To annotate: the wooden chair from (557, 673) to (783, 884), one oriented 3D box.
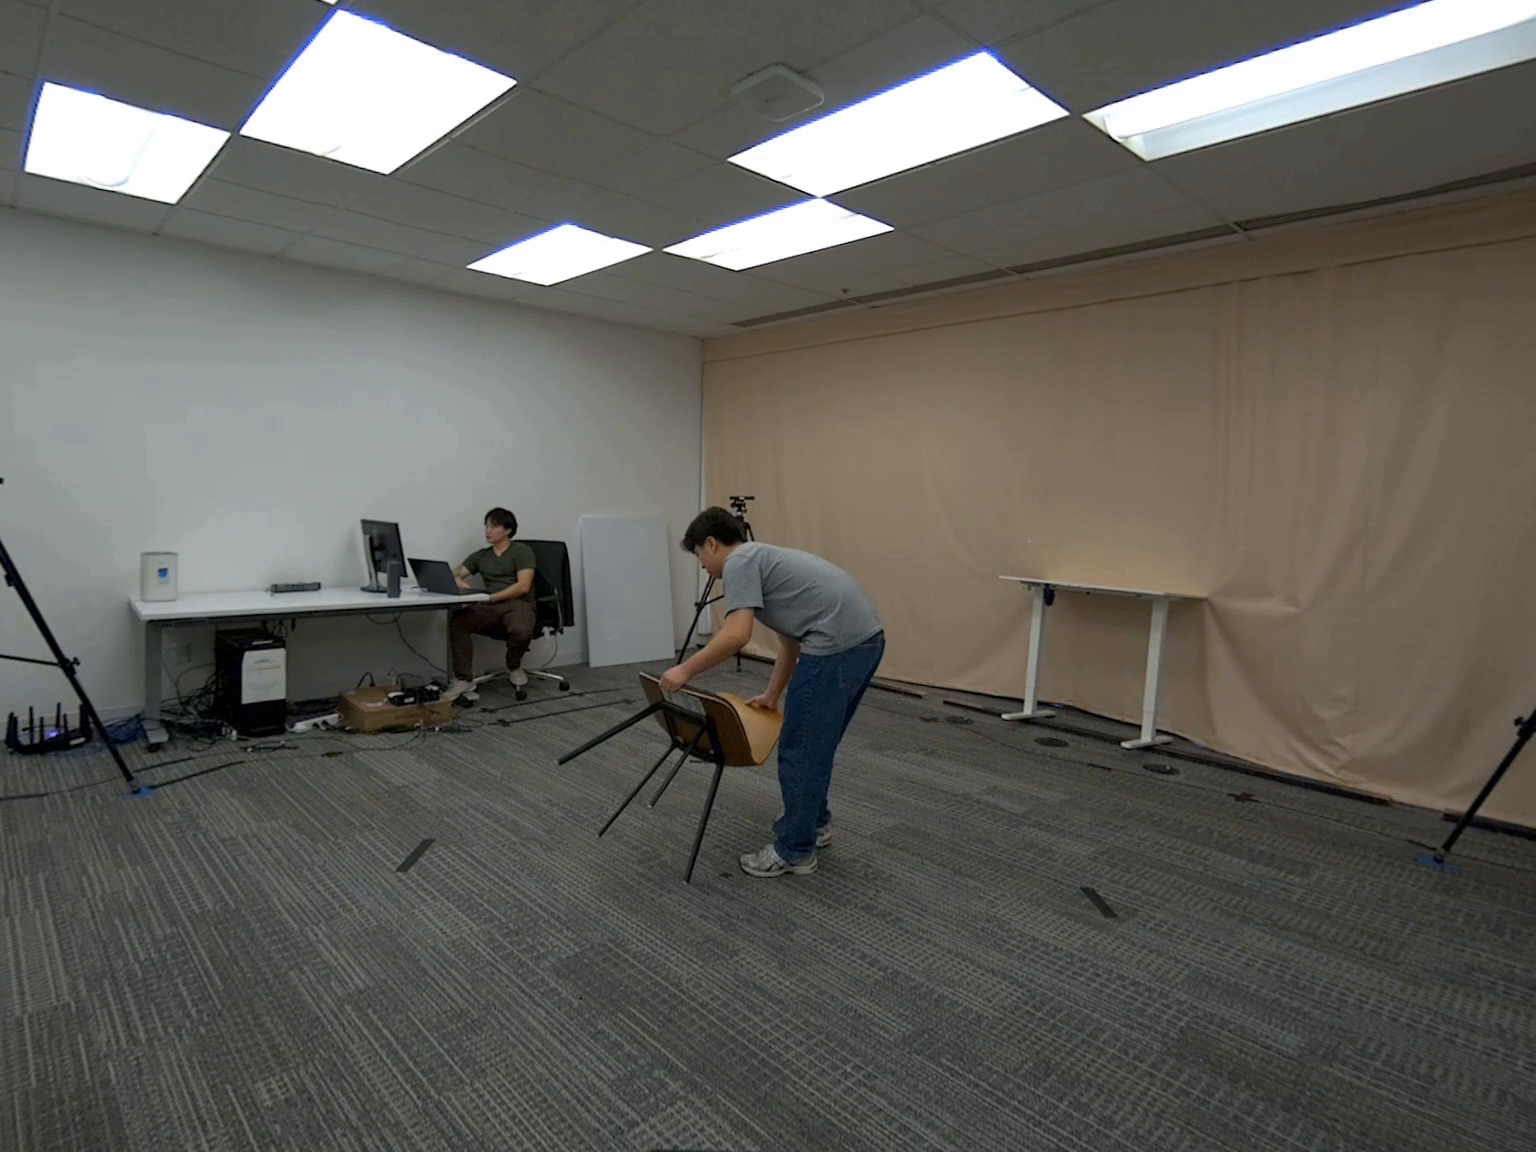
[{"bbox_3d":[-0.295,0.605,3.198,0.490,0.511,0.876,11,40,33],"label":"wooden chair"}]
